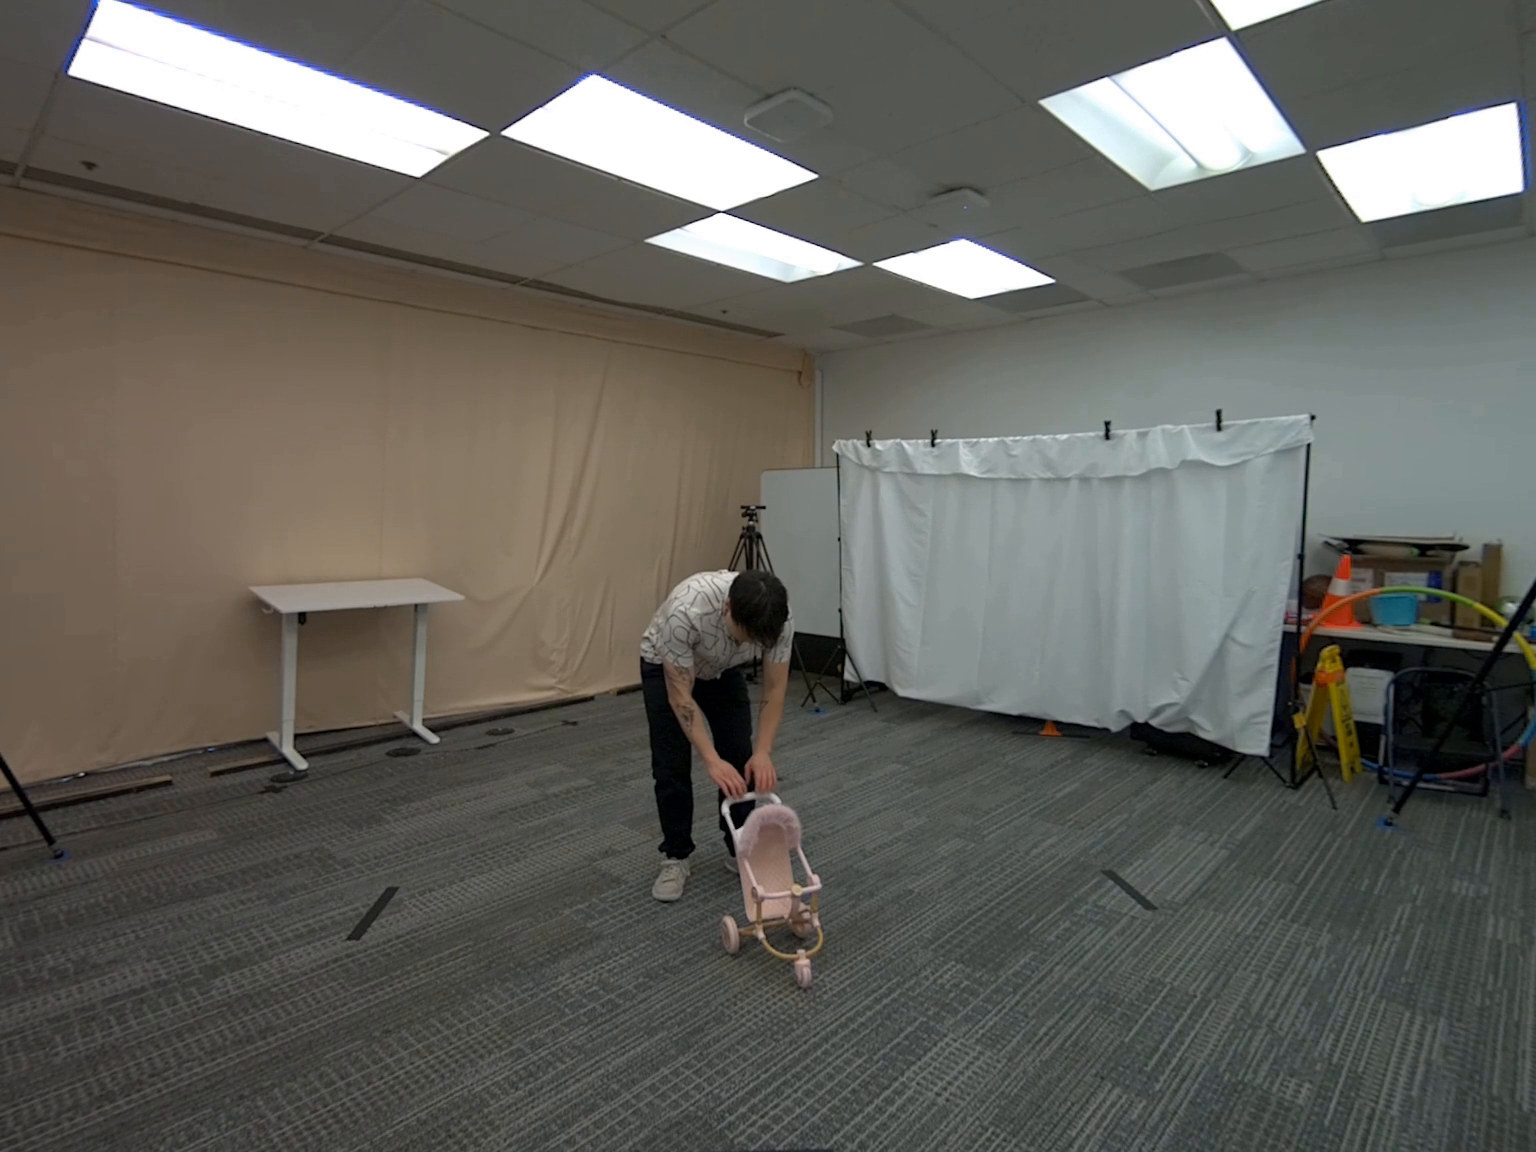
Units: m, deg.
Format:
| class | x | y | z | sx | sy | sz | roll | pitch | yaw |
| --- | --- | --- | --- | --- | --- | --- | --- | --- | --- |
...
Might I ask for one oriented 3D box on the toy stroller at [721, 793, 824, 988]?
| class | x | y | z | sx | sy | sz | roll | pitch | yaw |
| --- | --- | --- | --- | --- | --- | --- | --- | --- | --- |
| toy stroller | 0.025 | 0.948 | 2.607 | 0.276 | 0.540 | 0.345 | -1 | -13 | -20 |
